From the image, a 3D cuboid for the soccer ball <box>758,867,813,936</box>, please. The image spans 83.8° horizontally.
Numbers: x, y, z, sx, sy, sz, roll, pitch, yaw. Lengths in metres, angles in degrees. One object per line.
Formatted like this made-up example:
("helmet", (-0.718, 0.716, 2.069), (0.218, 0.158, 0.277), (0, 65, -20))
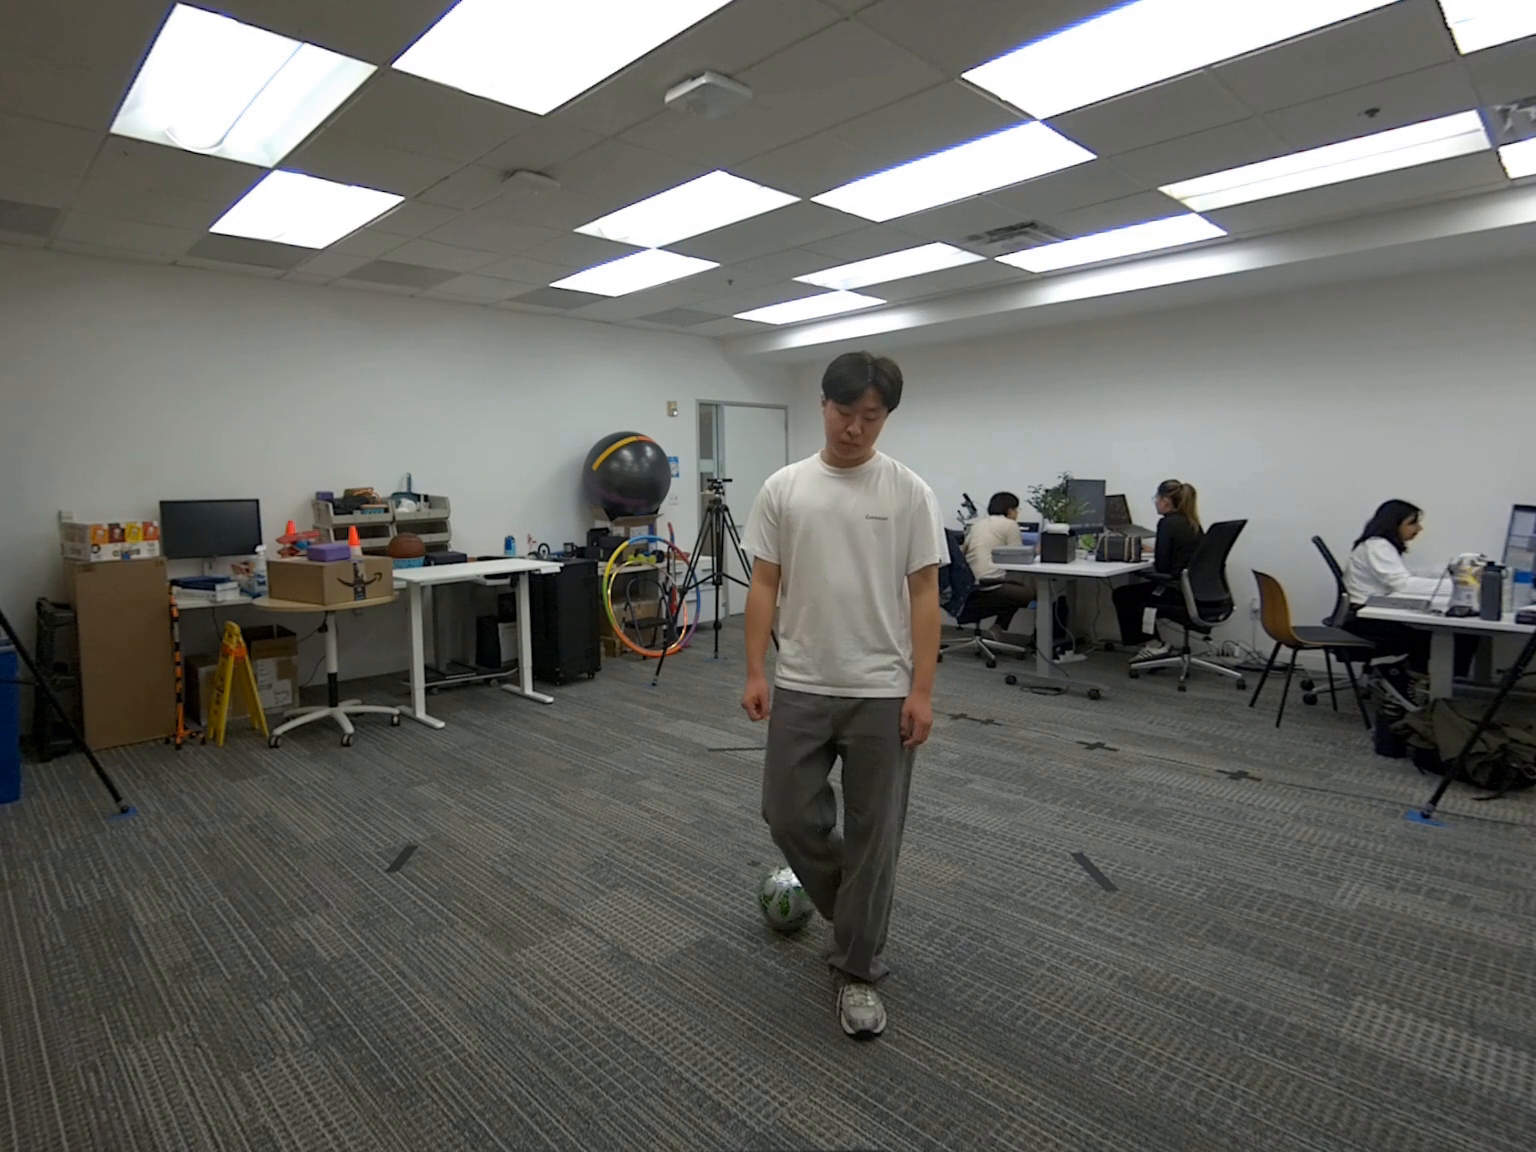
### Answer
("soccer ball", (0.068, 1.006, 2.664), (0.187, 0.187, 0.188), (-1, 5, -2))
